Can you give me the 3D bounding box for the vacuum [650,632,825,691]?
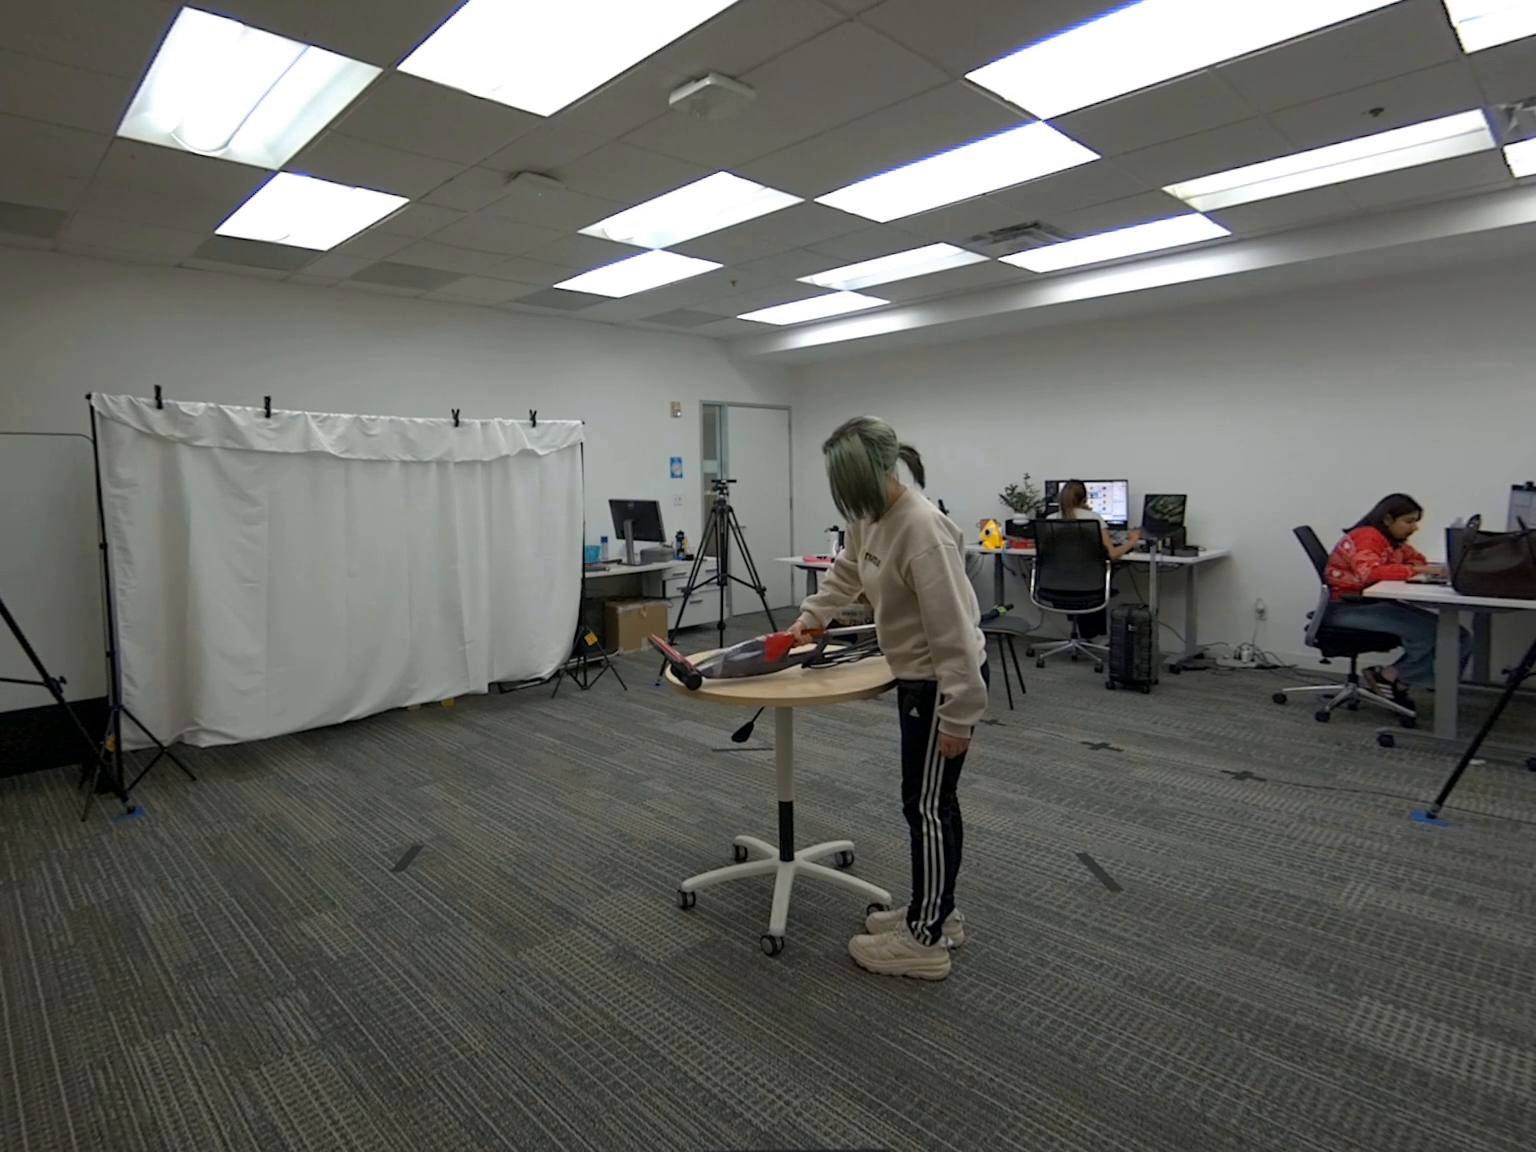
[{"bbox_3d":[0.189,0.244,2.732,1.029,0.142,0.260,-4,12,-23],"label":"vacuum"}]
